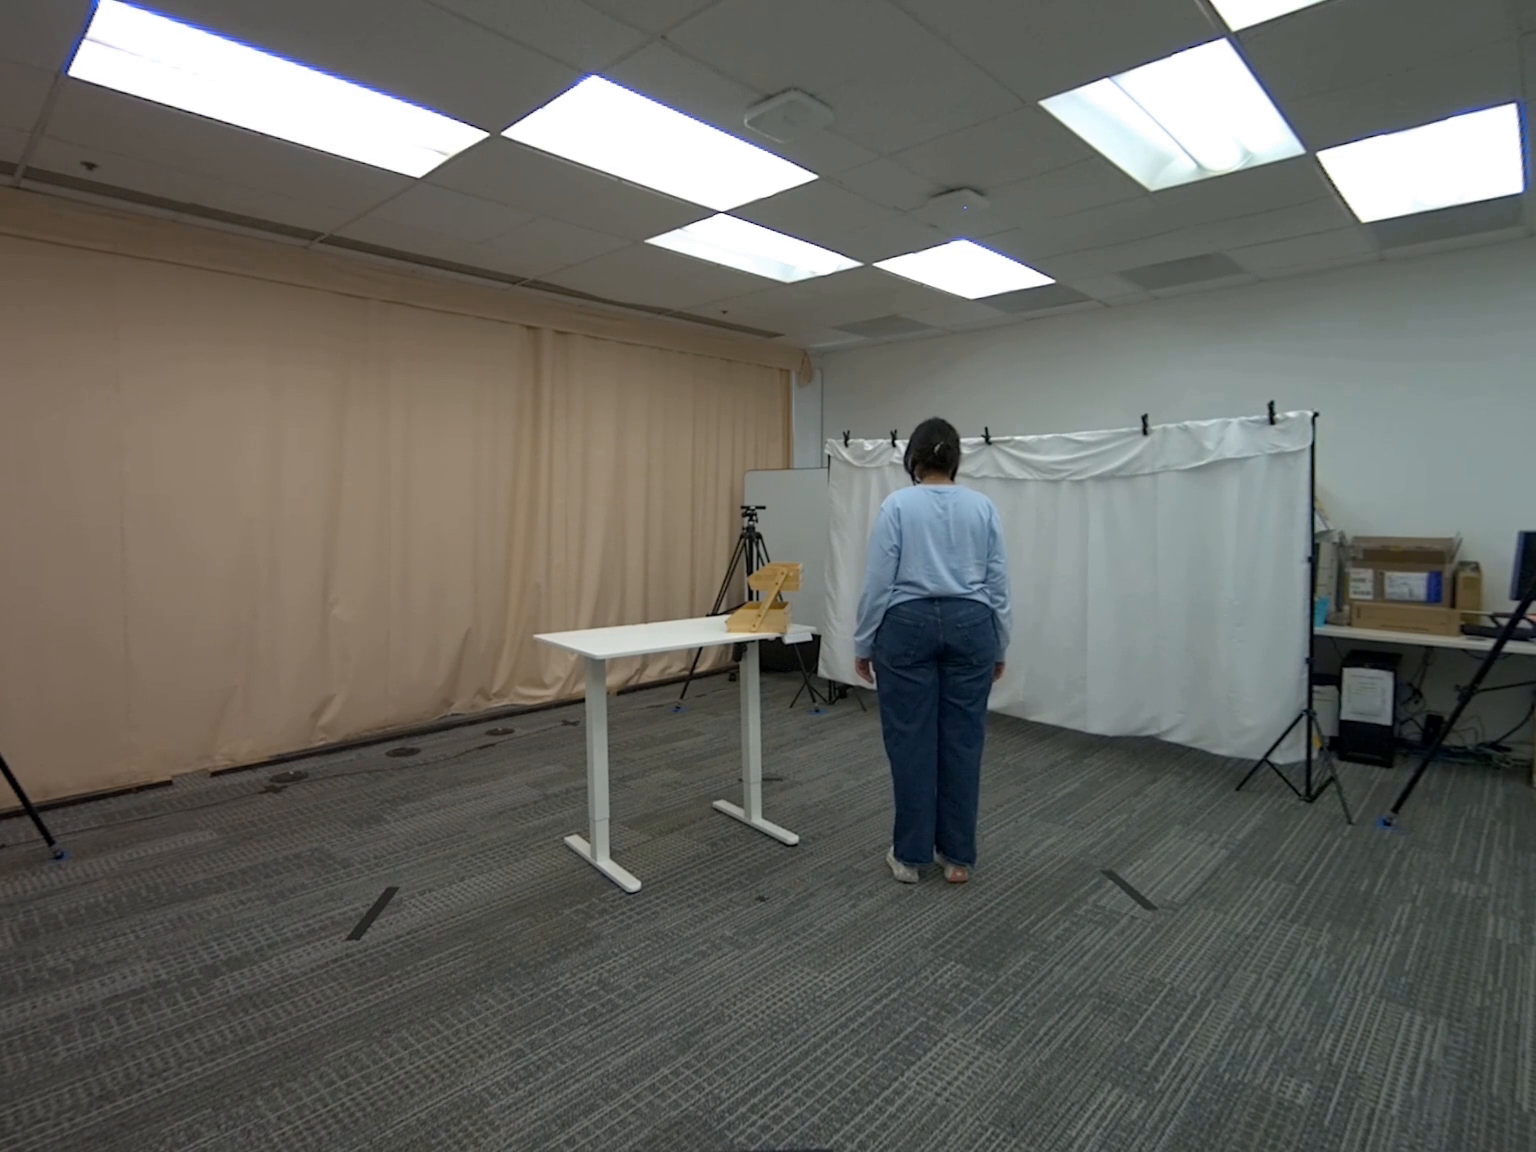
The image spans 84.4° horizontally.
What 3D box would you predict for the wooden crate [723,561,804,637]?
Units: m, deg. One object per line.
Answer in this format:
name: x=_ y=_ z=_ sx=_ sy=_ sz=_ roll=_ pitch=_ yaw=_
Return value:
wooden crate: x=-0.014 y=0.085 z=3.507 sx=0.304 sy=0.272 sz=0.323 roll=0 pitch=4 yaw=7
